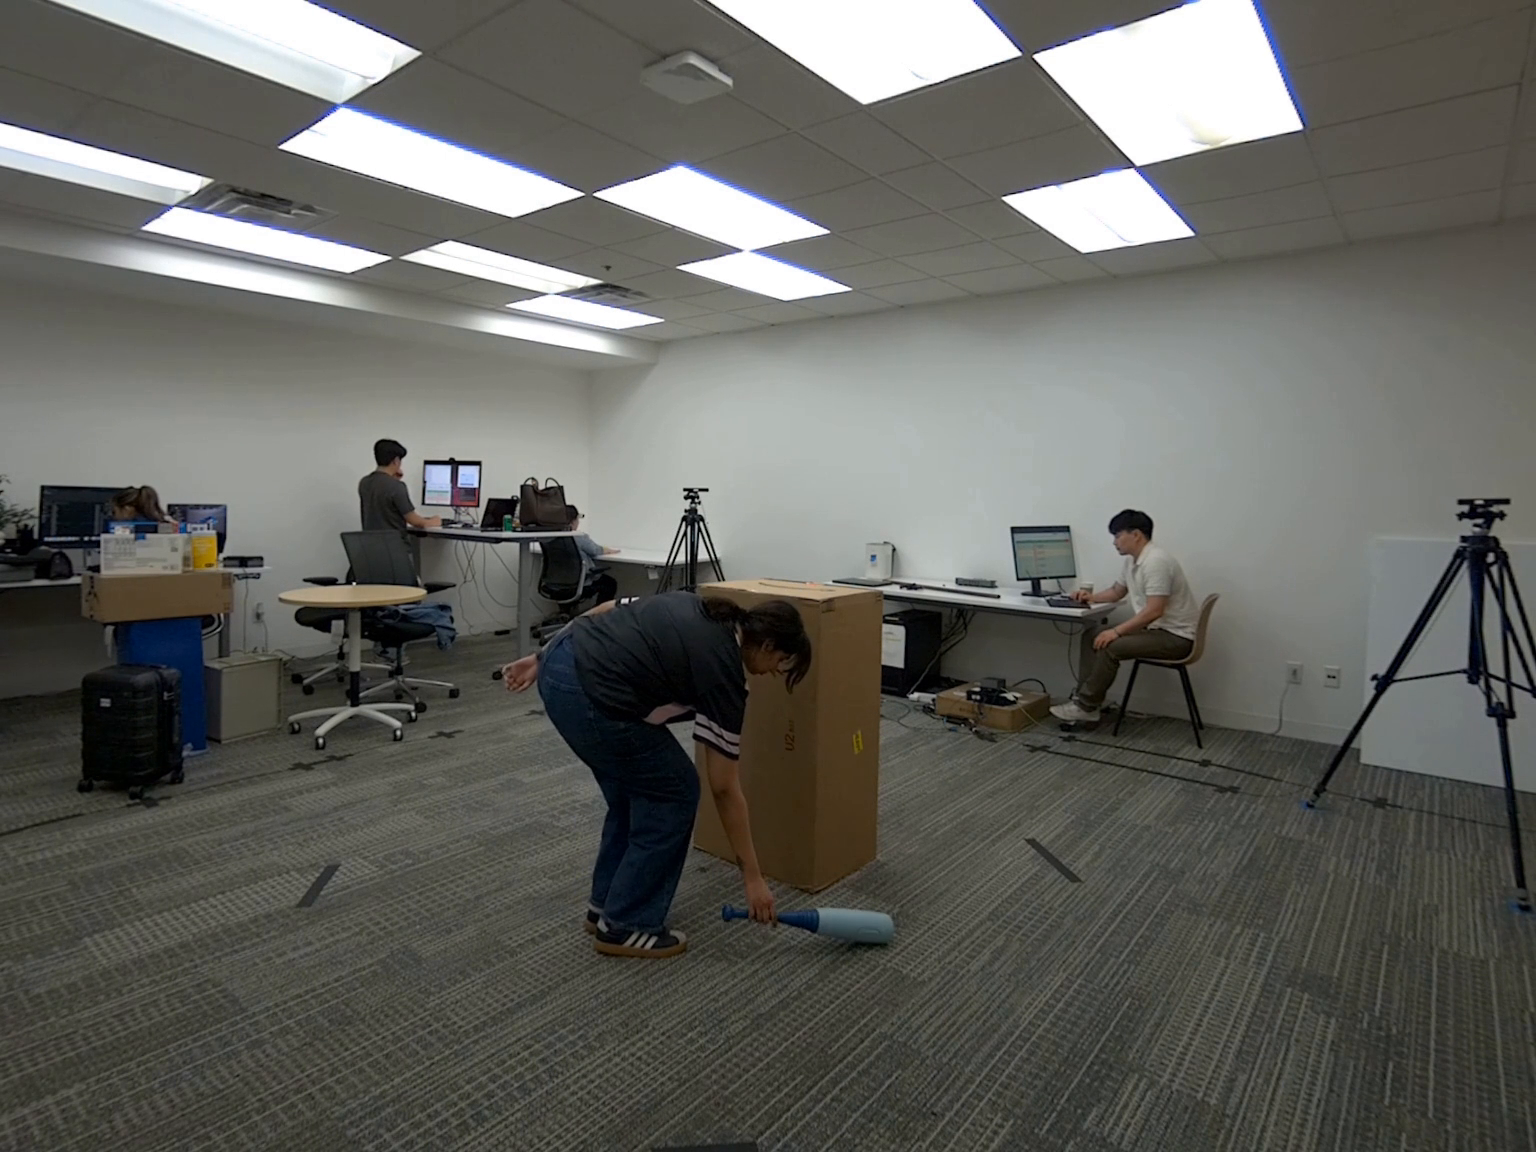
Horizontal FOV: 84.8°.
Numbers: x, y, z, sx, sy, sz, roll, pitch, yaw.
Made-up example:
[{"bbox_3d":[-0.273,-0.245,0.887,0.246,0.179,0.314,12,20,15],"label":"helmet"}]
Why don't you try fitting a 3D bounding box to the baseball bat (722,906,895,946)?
[{"bbox_3d":[0.117,1.042,2.577,0.535,0.089,0.090,10,2,-12],"label":"baseball bat"}]
